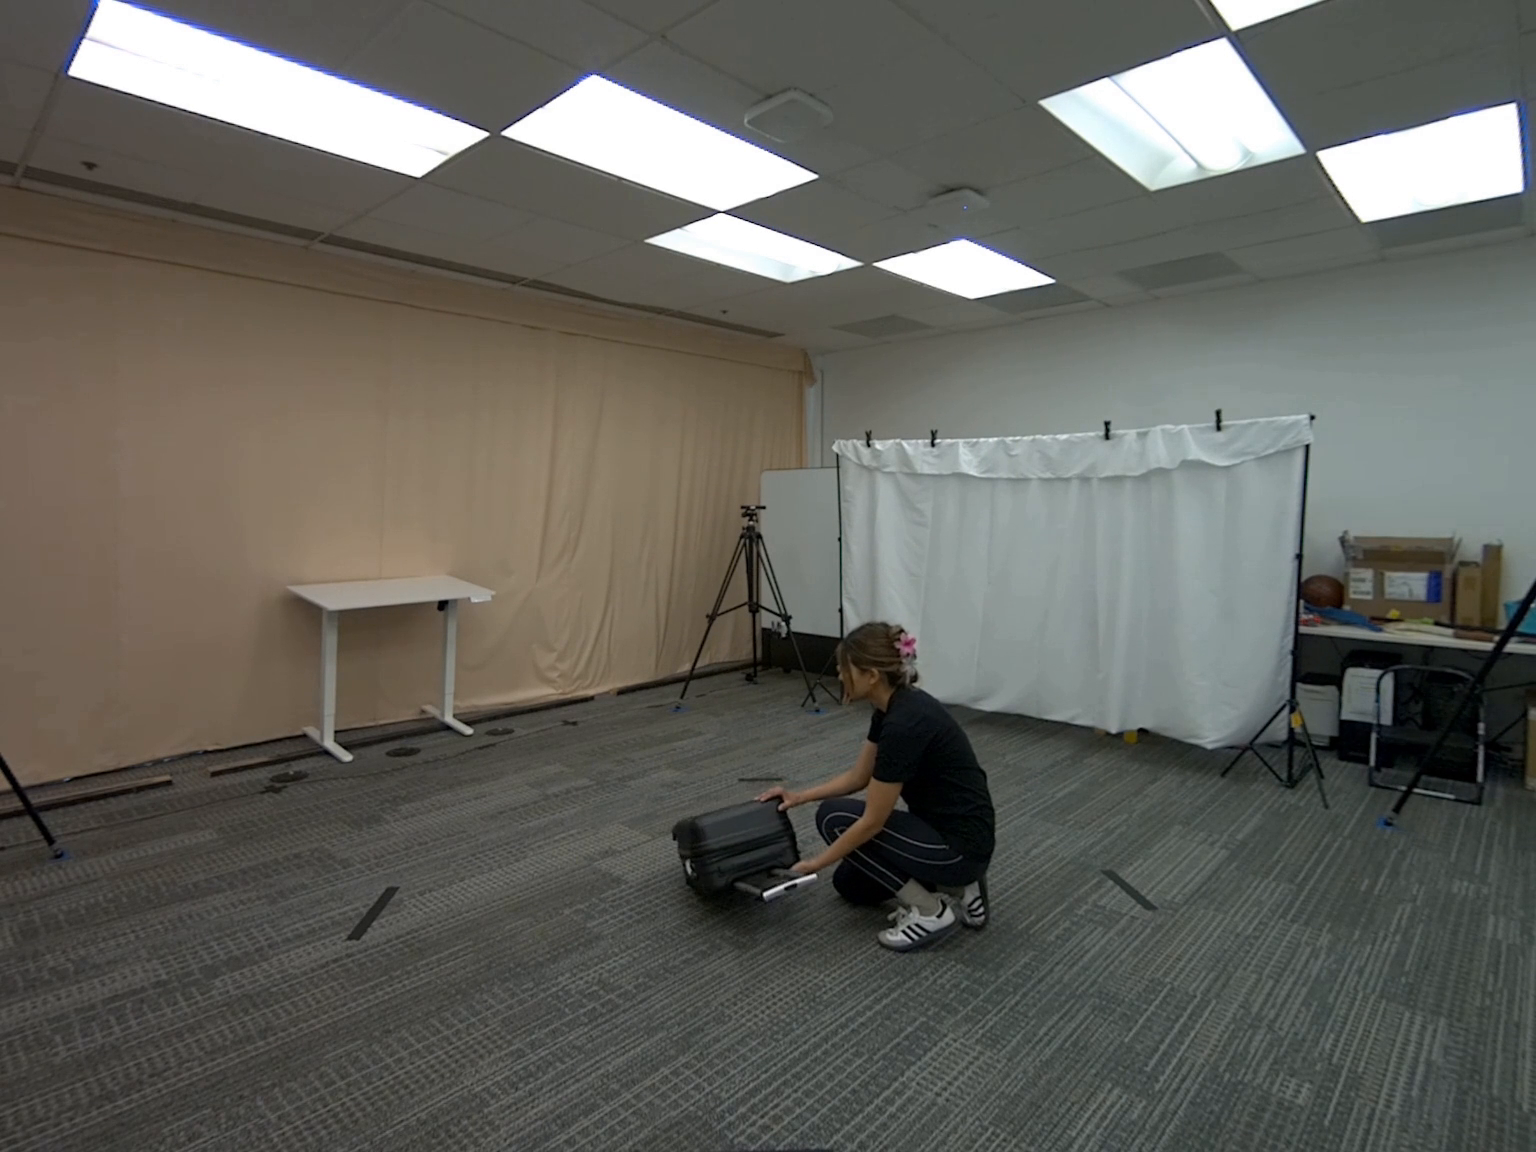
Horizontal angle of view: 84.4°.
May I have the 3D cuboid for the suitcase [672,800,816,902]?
[{"bbox_3d":[-0.085,0.876,2.749,0.379,0.261,0.977,-11,-16,-14],"label":"suitcase"}]
